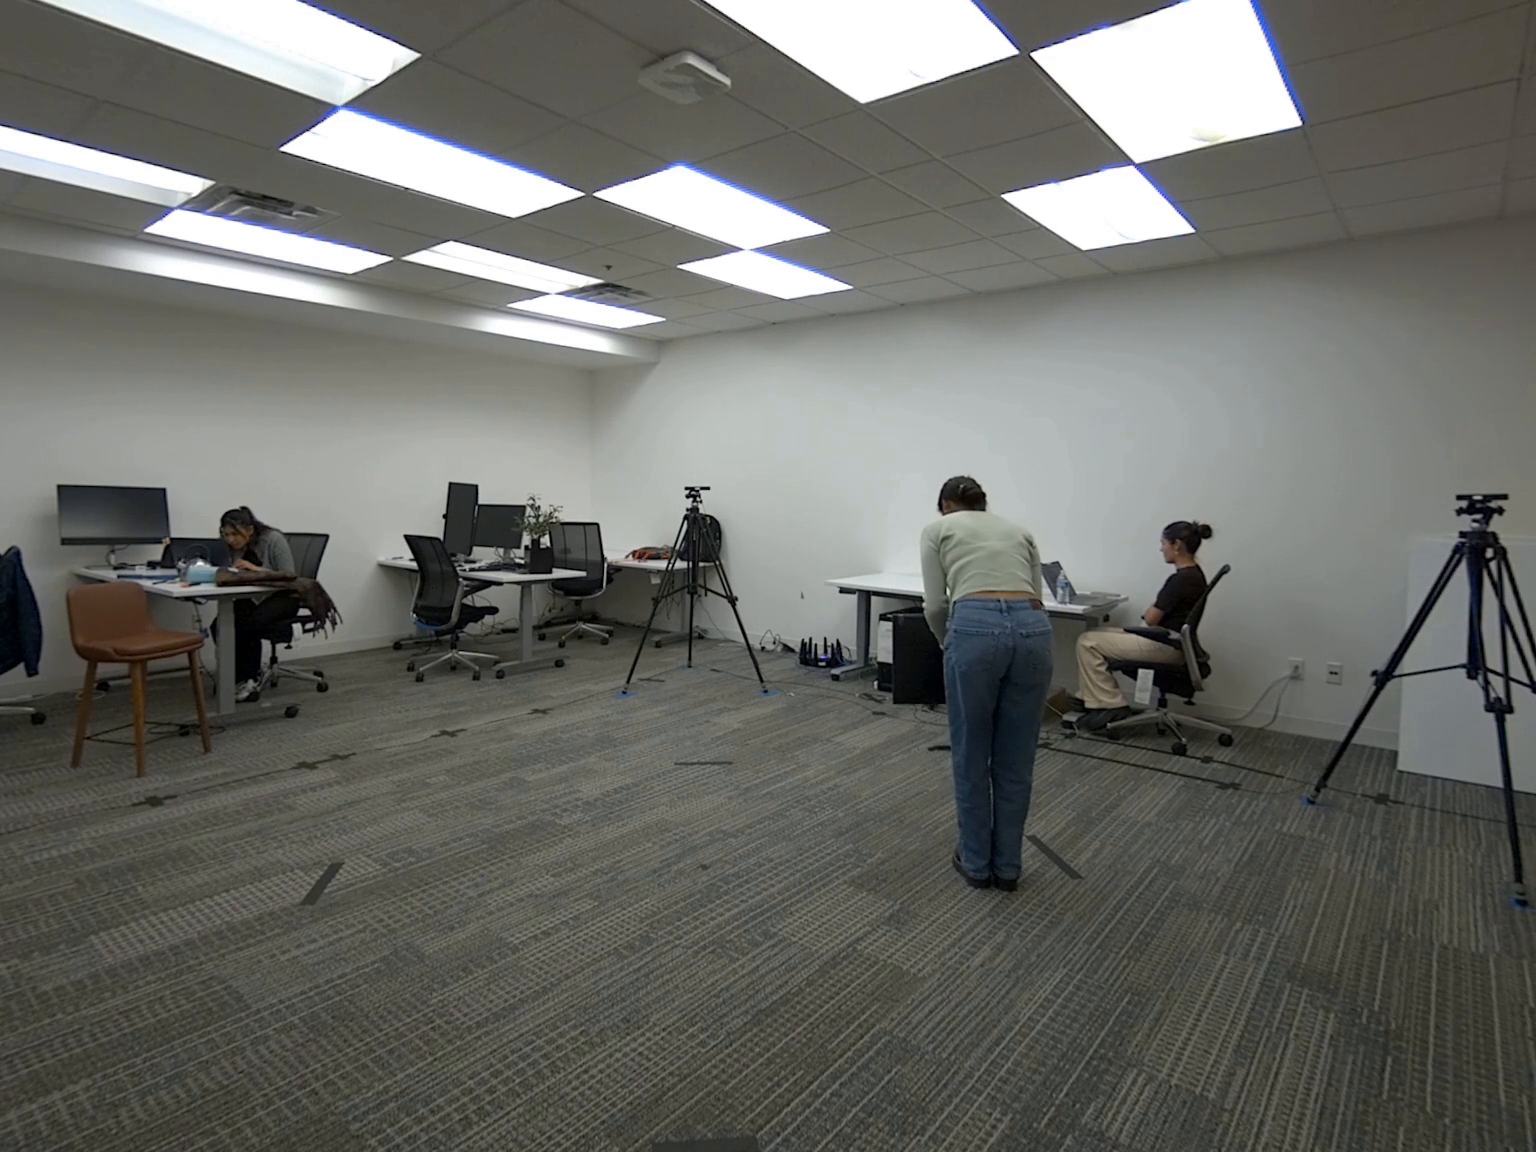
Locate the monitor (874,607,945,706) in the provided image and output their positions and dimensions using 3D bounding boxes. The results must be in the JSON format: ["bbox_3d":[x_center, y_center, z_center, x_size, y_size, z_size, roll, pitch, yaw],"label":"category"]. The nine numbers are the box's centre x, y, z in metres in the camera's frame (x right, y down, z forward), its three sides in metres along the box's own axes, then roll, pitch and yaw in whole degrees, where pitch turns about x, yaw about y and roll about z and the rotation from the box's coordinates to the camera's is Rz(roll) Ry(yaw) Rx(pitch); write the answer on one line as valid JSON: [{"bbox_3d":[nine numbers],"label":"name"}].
[{"bbox_3d":[0.743,0.404,3.274,0.530,0.524,0.172,-1,-16,0],"label":"monitor"}]
